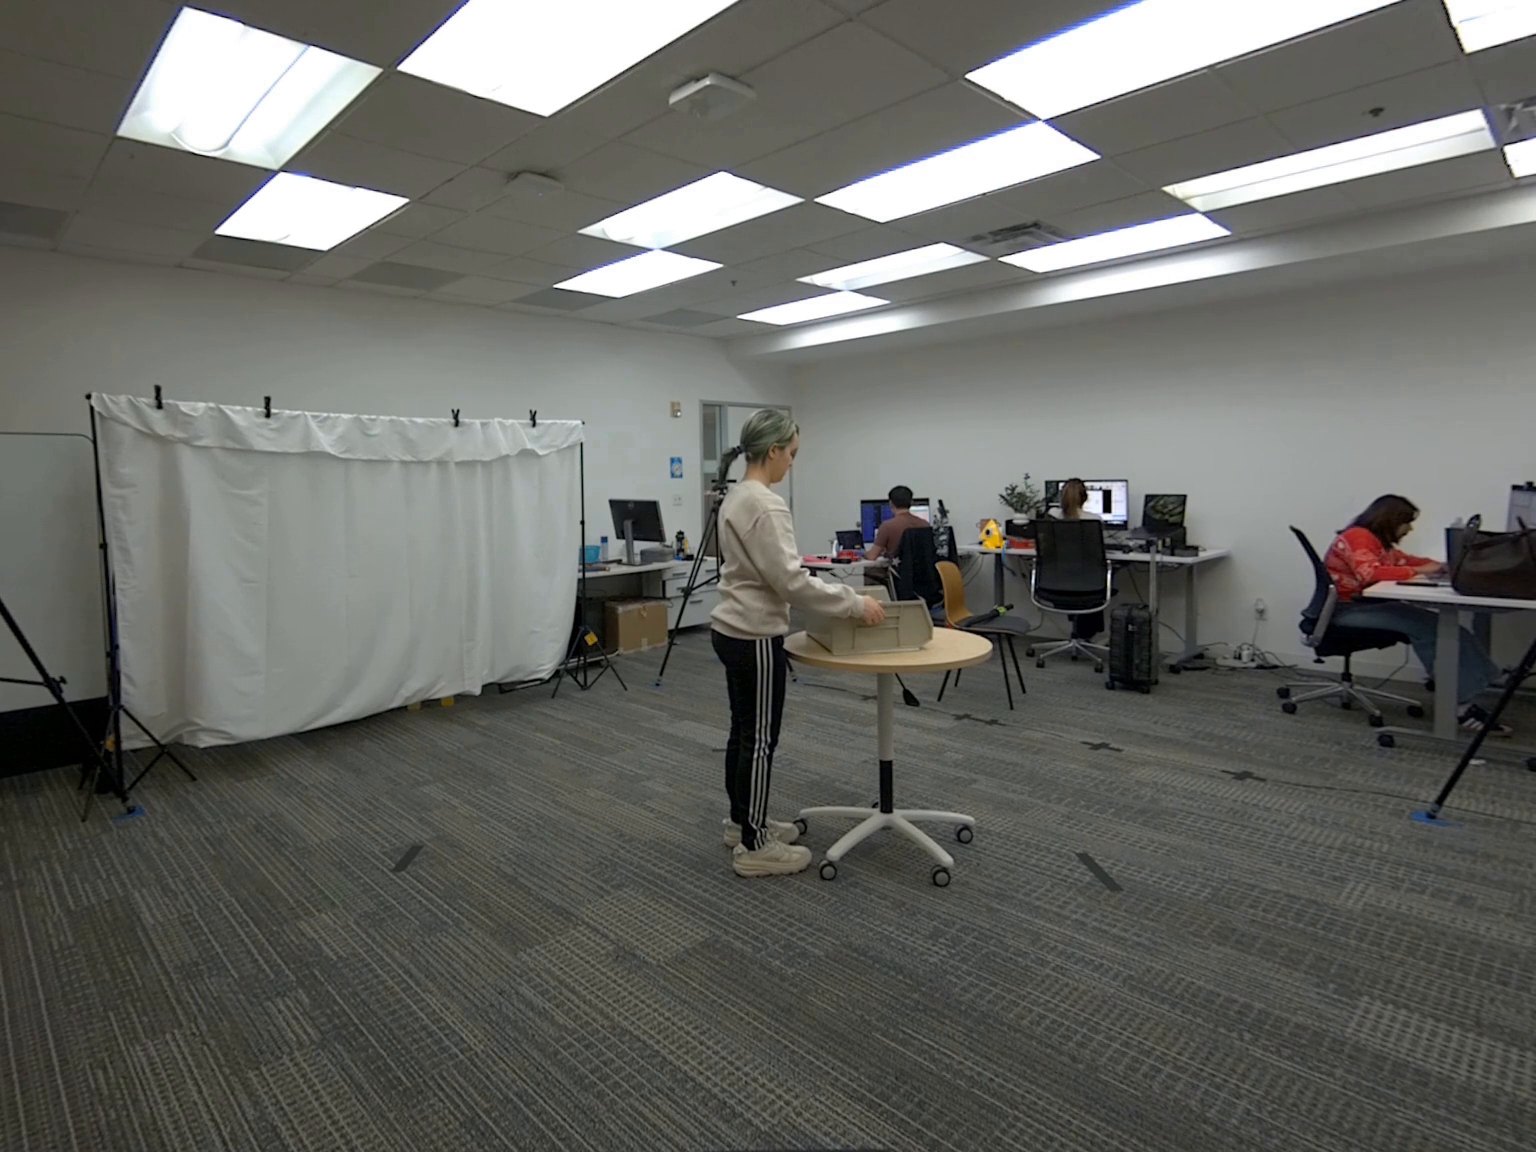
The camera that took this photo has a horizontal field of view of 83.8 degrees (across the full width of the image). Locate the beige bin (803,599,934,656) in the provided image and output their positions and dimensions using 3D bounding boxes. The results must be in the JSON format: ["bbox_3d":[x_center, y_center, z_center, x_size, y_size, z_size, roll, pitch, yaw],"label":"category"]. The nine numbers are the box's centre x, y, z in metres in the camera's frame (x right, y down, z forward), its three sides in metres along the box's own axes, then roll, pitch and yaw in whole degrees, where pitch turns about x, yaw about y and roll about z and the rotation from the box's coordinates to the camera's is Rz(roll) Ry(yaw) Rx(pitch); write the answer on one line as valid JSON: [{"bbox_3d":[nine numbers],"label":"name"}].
[{"bbox_3d":[0.360,0.158,3.175,0.374,0.188,0.428,-3,7,-10],"label":"beige bin"}]
